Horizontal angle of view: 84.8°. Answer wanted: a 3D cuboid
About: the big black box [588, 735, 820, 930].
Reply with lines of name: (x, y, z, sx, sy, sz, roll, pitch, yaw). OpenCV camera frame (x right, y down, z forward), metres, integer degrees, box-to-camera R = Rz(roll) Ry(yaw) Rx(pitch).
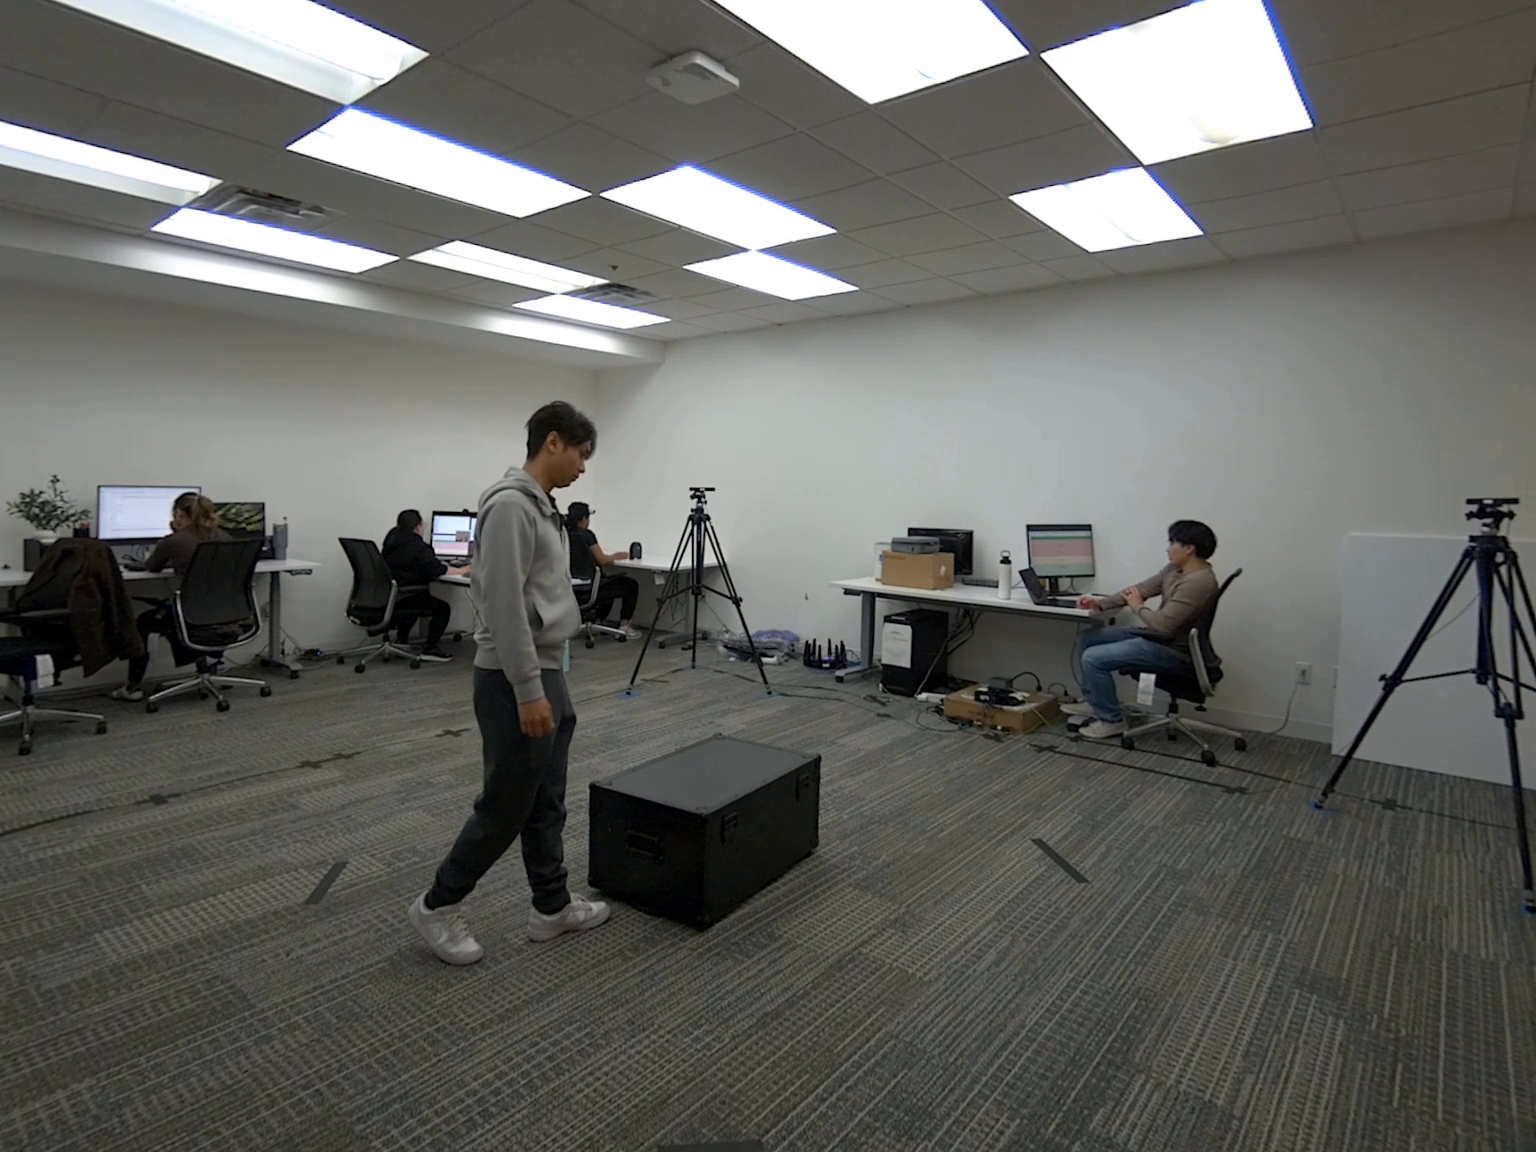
big black box: (-0.195, 0.876, 3.104, 0.537, 0.395, 0.839, 4, 6, 31)
